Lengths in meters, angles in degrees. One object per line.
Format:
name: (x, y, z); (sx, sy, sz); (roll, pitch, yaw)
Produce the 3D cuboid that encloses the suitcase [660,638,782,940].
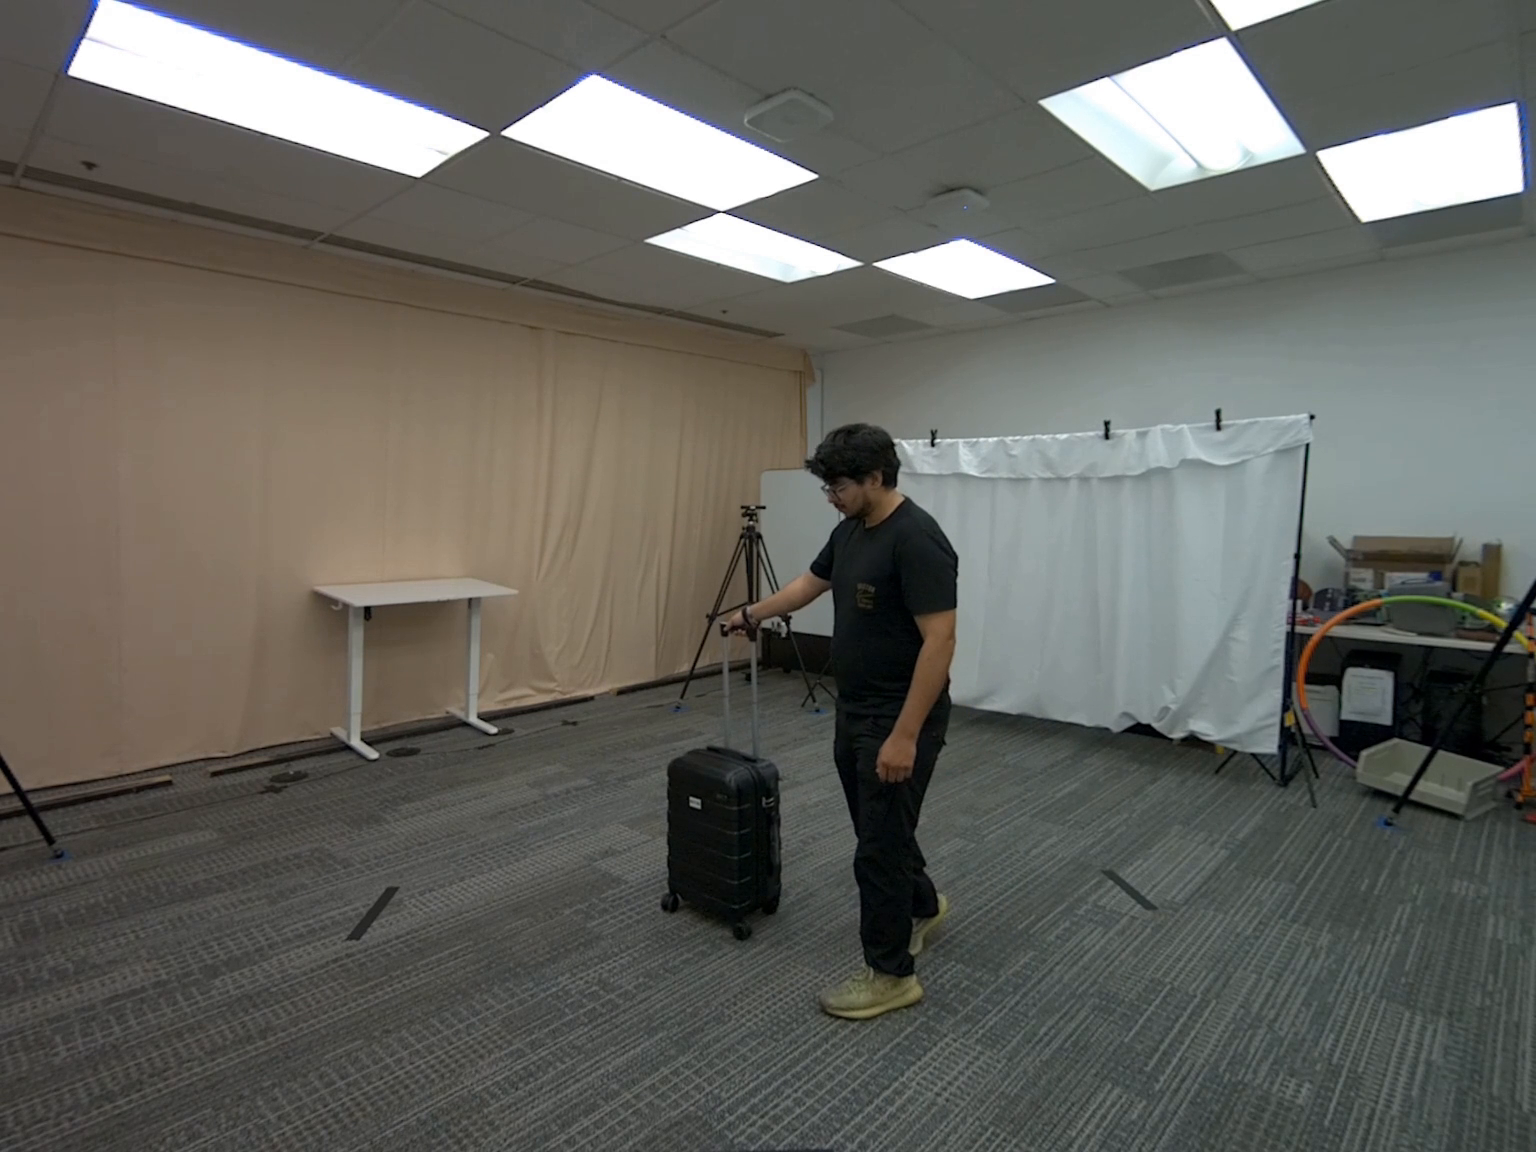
suitcase: (-0.158, 0.678, 2.862); (0.396, 0.976, 0.249); (2, 6, 40)
